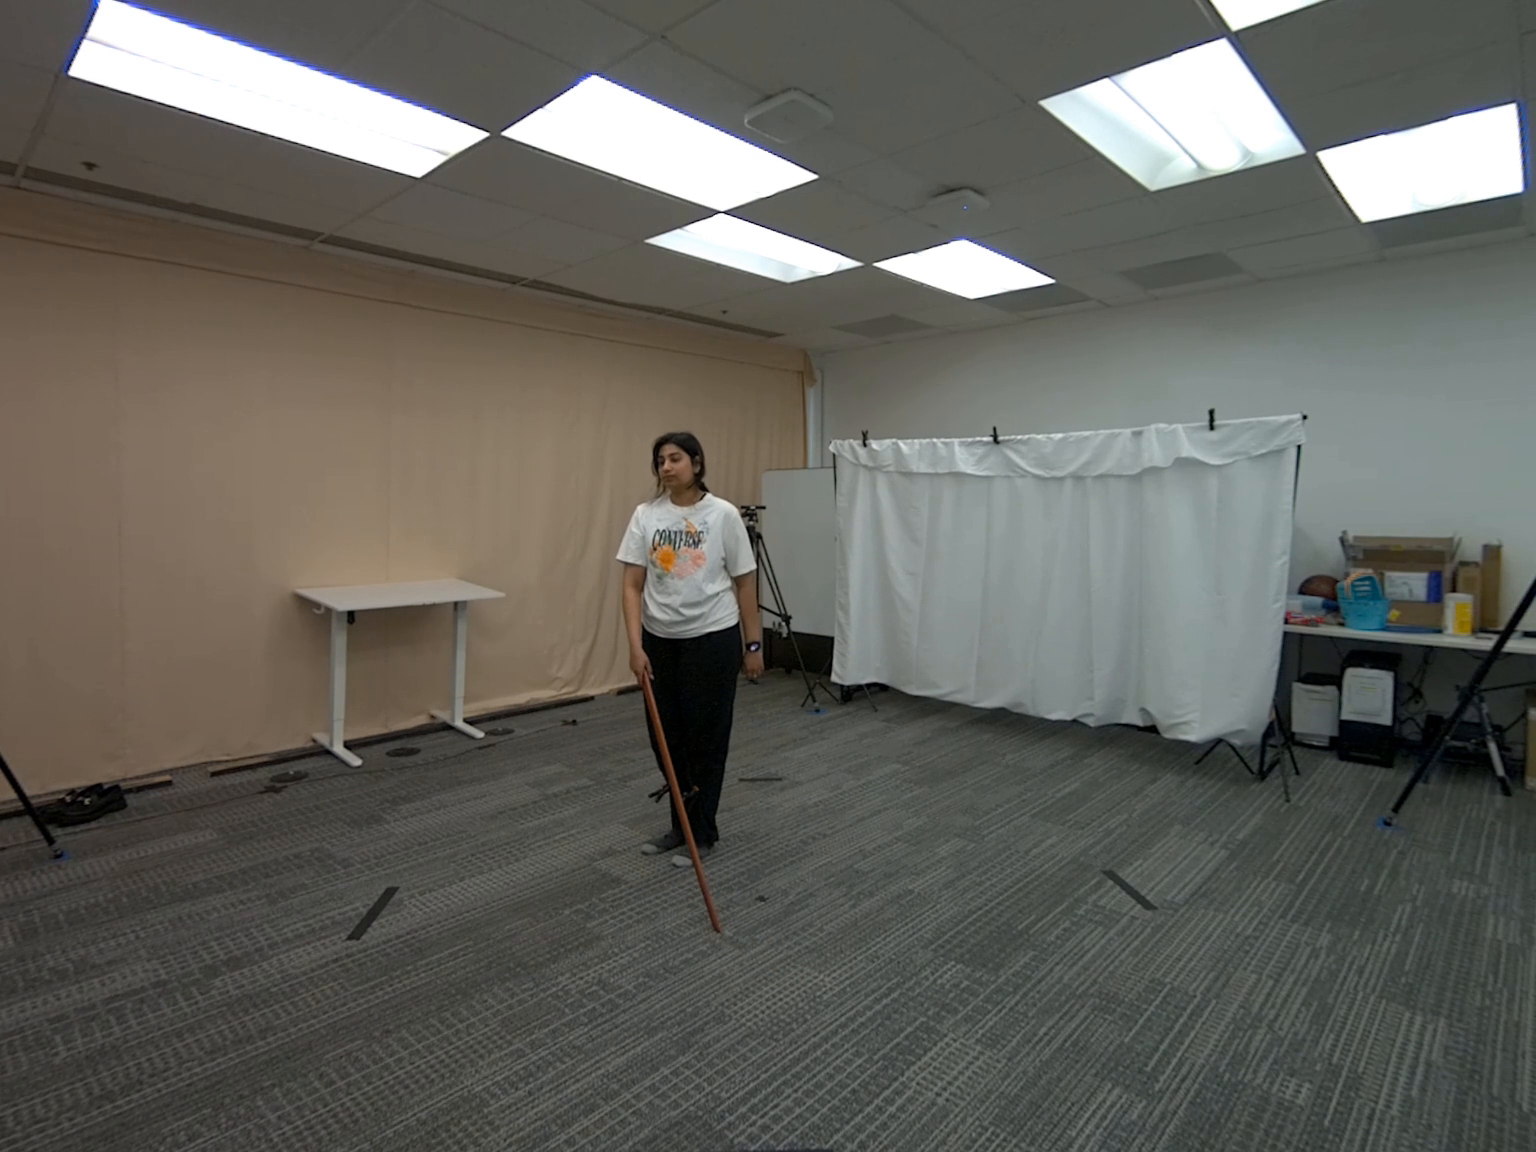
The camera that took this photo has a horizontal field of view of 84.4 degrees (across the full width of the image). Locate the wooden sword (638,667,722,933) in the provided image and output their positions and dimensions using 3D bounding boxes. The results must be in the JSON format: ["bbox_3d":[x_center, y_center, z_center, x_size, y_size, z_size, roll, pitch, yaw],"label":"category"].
[{"bbox_3d":[-0.327,0.739,2.992,0.024,1.050,0.049,-38,-30,26],"label":"wooden sword"}]
